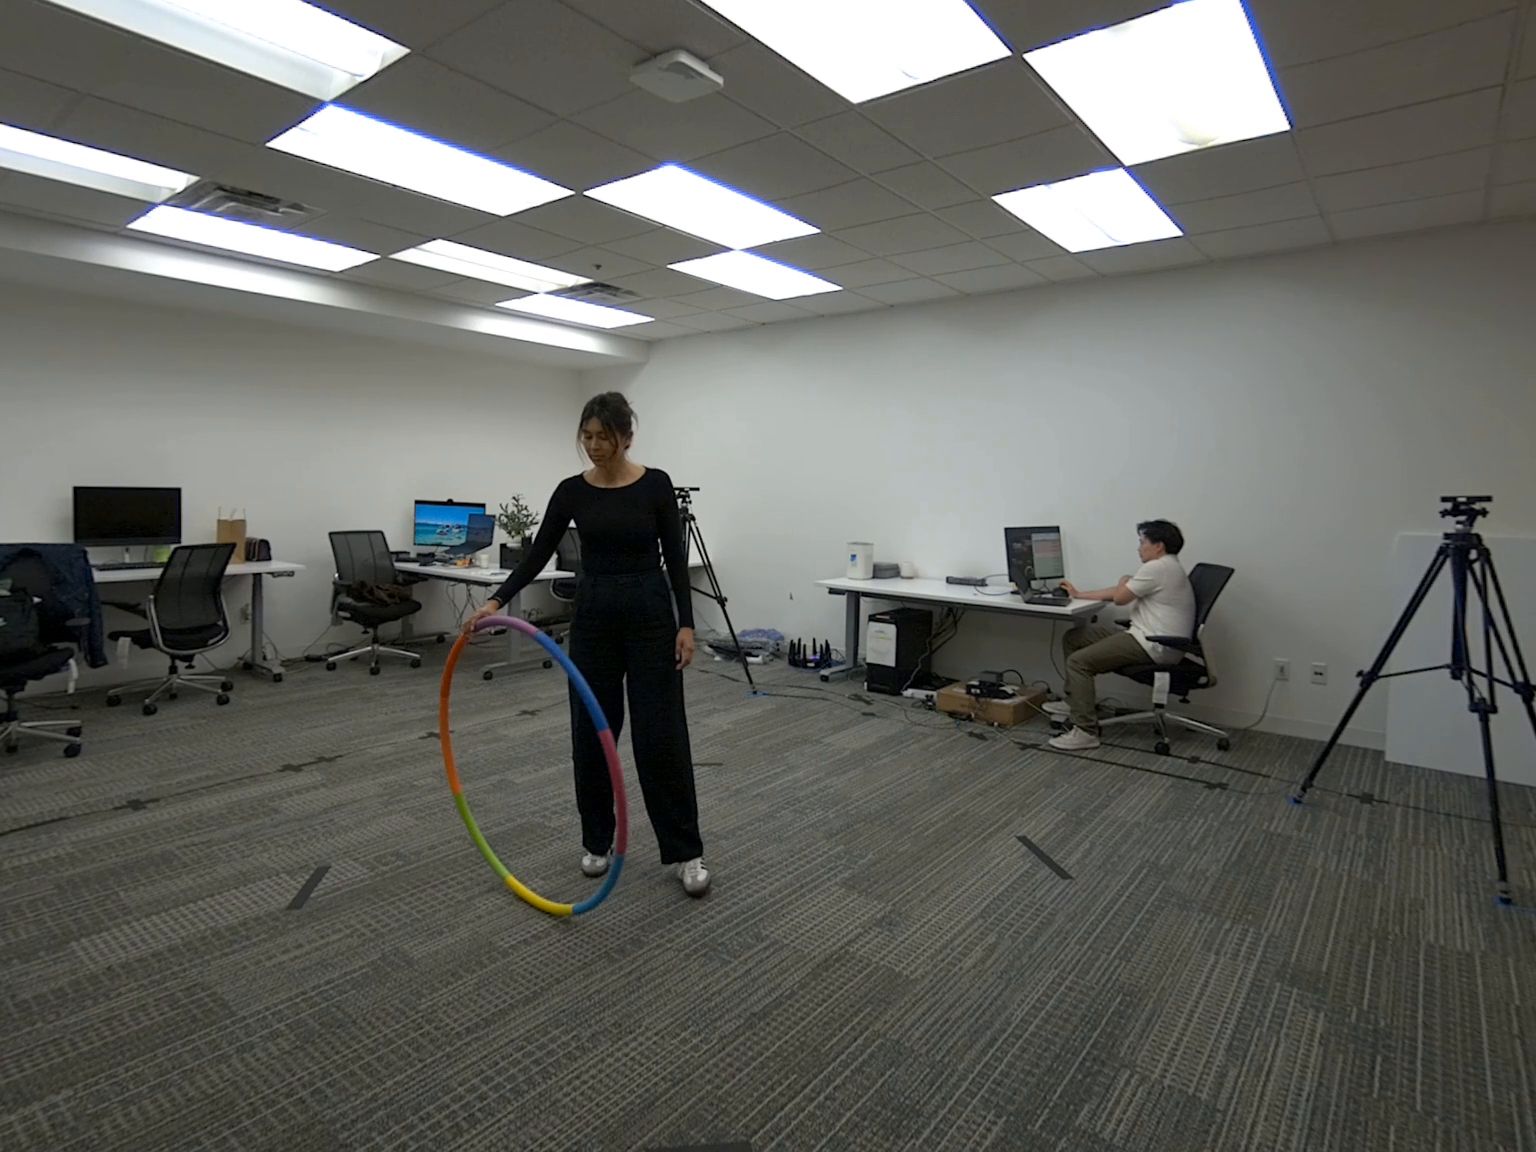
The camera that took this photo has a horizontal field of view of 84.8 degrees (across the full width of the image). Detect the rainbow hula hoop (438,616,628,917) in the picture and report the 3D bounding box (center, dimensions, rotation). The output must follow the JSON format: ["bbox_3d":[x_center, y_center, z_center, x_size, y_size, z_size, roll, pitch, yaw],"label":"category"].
[{"bbox_3d":[-0.784,0.606,2.750,1.012,0.971,0.034,4,10,41],"label":"rainbow hula hoop"}]
